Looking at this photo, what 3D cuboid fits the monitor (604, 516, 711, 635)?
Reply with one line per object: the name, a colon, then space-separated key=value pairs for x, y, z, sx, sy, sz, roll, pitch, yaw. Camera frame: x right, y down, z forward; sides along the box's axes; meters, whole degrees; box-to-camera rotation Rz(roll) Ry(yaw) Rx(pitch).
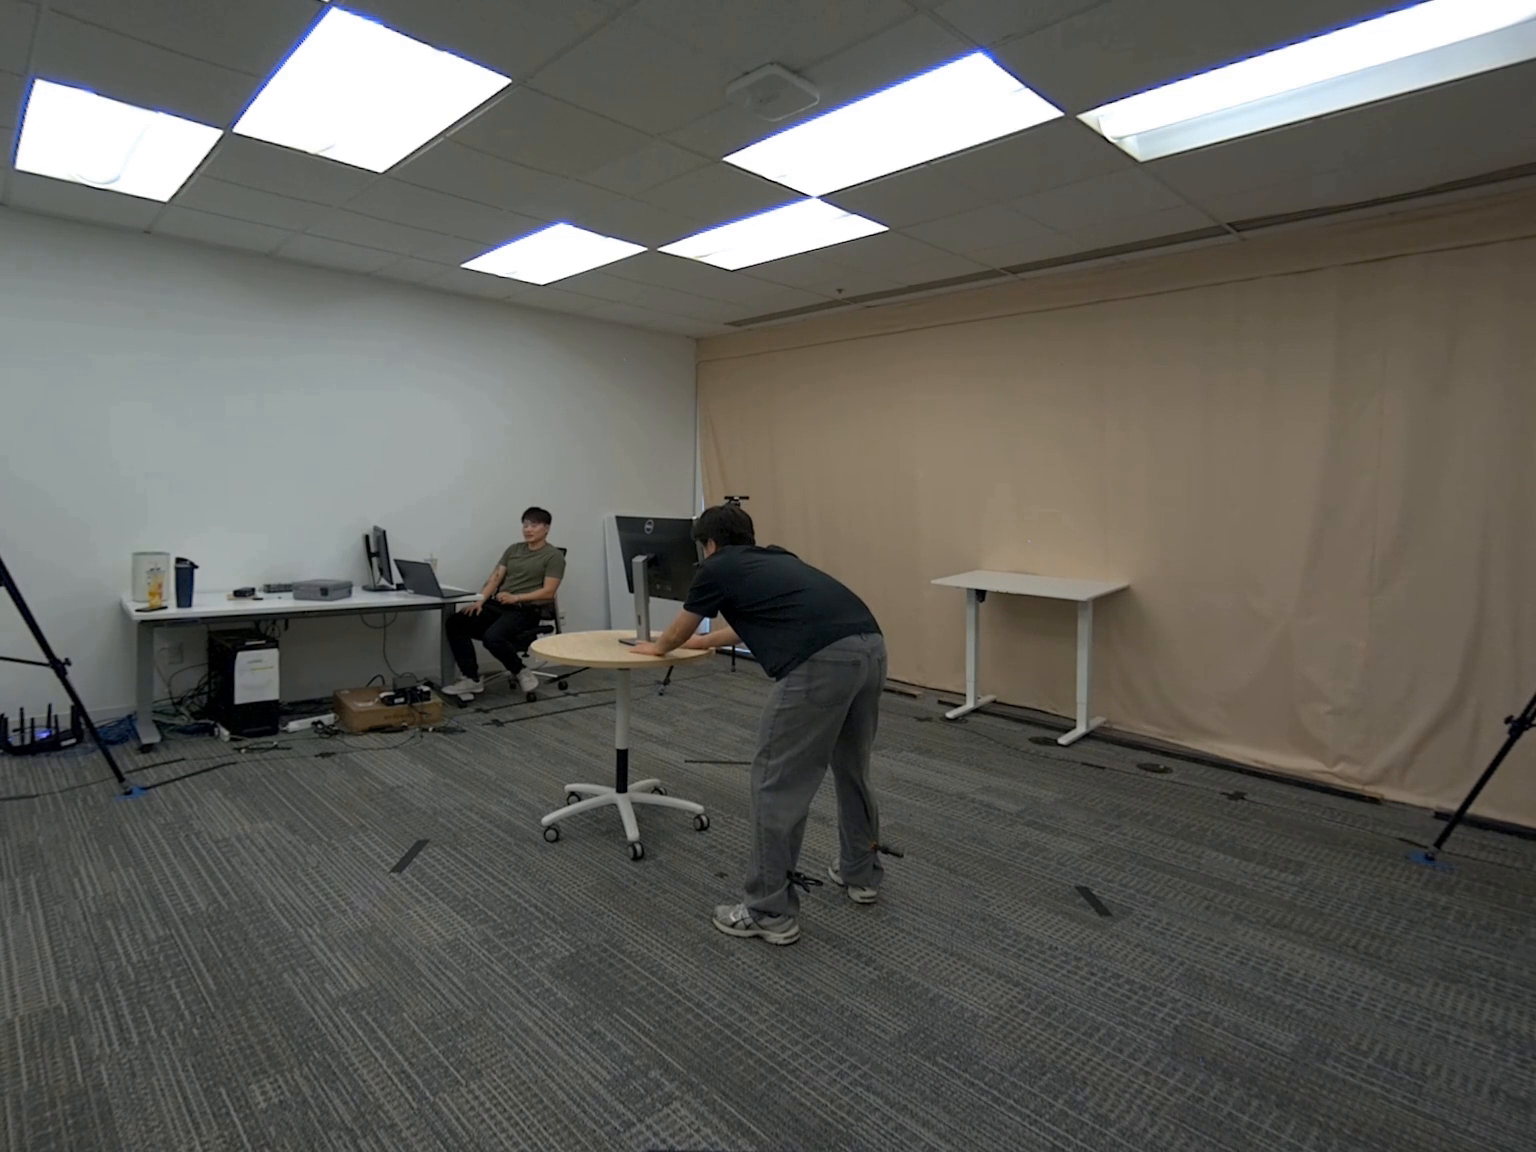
monitor: x=-0.507 y=0.021 z=3.516 sx=0.206 sy=0.550 sz=0.580 roll=-10 pitch=11 yaw=-42
